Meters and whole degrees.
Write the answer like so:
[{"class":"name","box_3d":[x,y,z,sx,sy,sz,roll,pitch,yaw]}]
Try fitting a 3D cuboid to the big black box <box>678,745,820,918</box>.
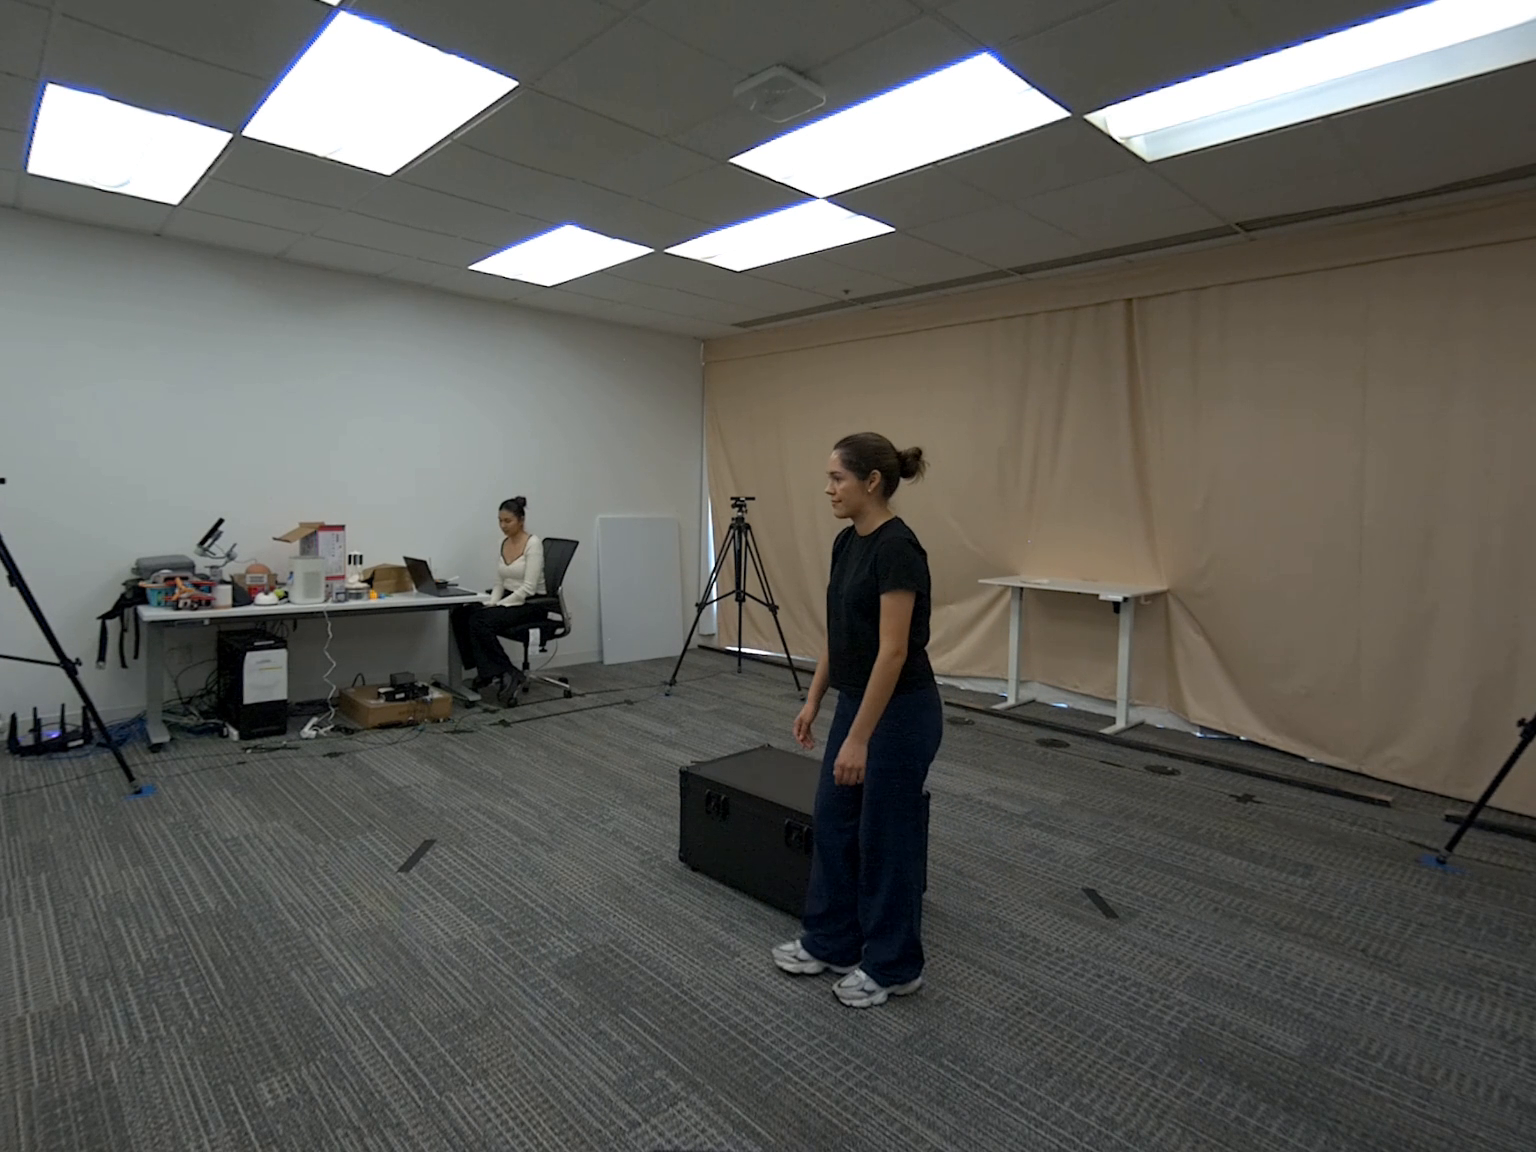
[{"class":"big black box","box_3d":[0.091,0.925,3.074,0.884,0.395,0.509,7,7,43]}]
